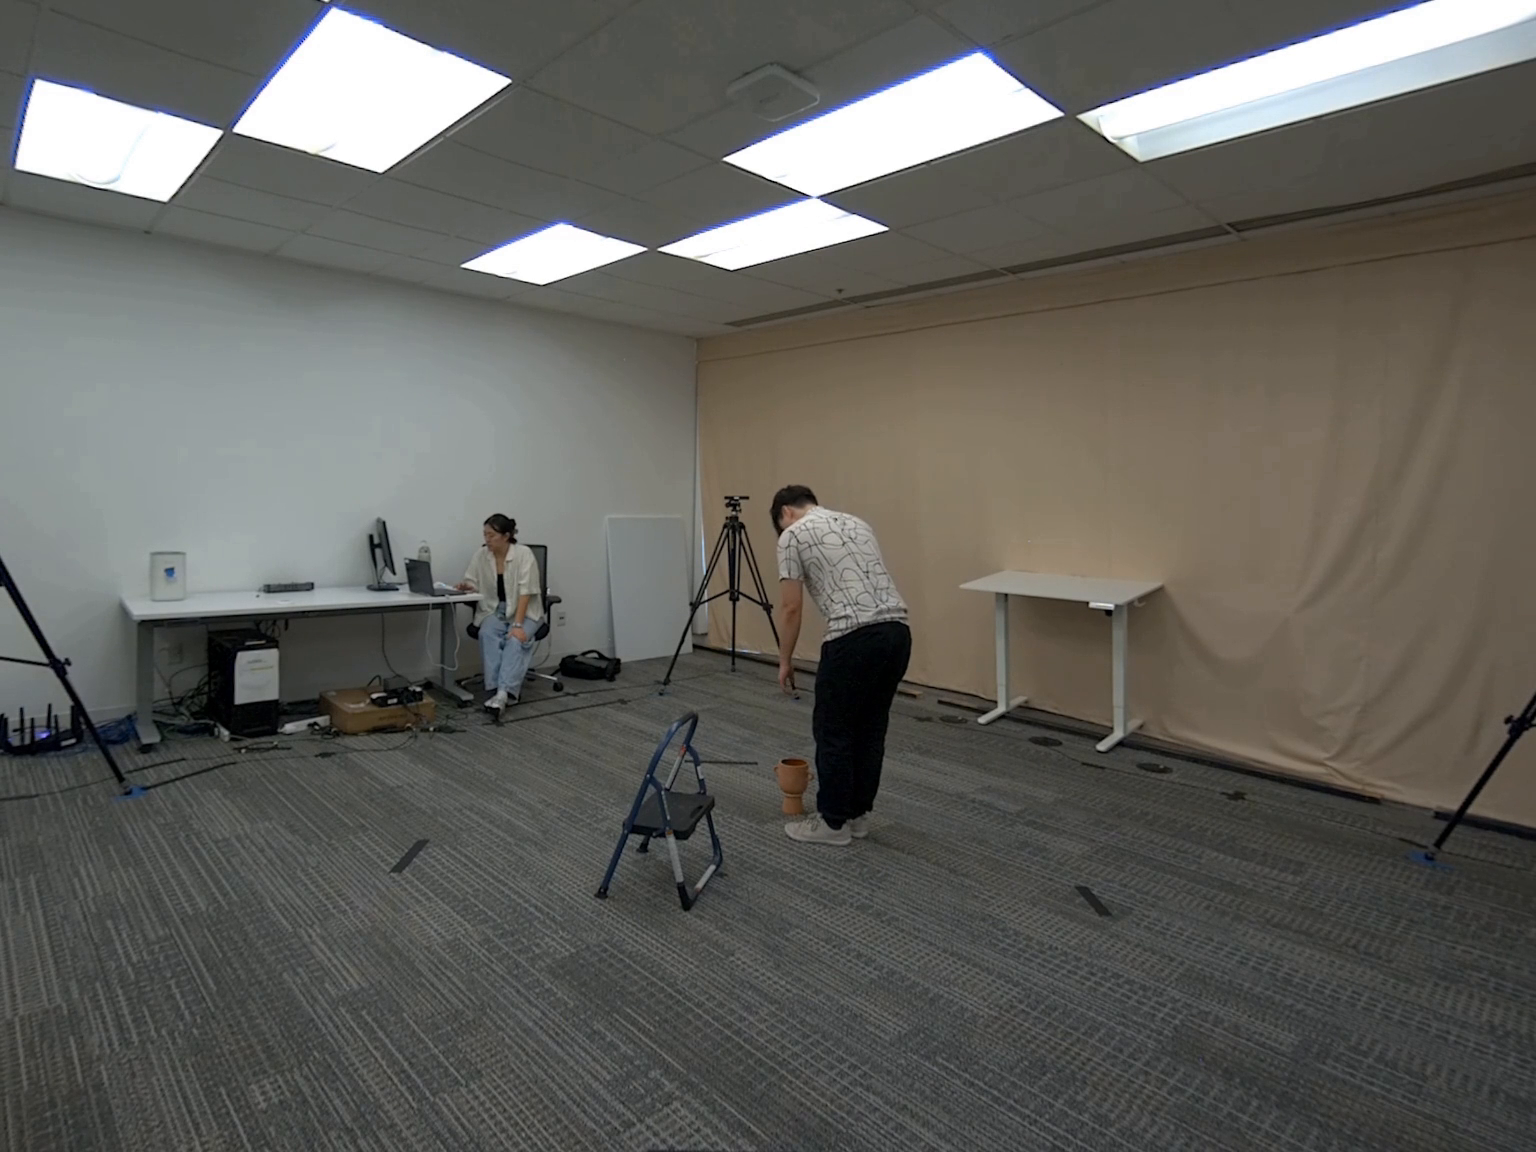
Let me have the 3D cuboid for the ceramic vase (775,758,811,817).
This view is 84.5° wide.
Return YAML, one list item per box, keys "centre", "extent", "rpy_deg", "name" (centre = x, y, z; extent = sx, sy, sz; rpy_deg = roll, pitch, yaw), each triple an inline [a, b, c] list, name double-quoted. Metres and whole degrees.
- centre: [0.102, 0.940, 3.771]
  extent: [0.132, 0.219, 0.162]
  rpy_deg: [1, 3, -24]
  name: "ceramic vase"
